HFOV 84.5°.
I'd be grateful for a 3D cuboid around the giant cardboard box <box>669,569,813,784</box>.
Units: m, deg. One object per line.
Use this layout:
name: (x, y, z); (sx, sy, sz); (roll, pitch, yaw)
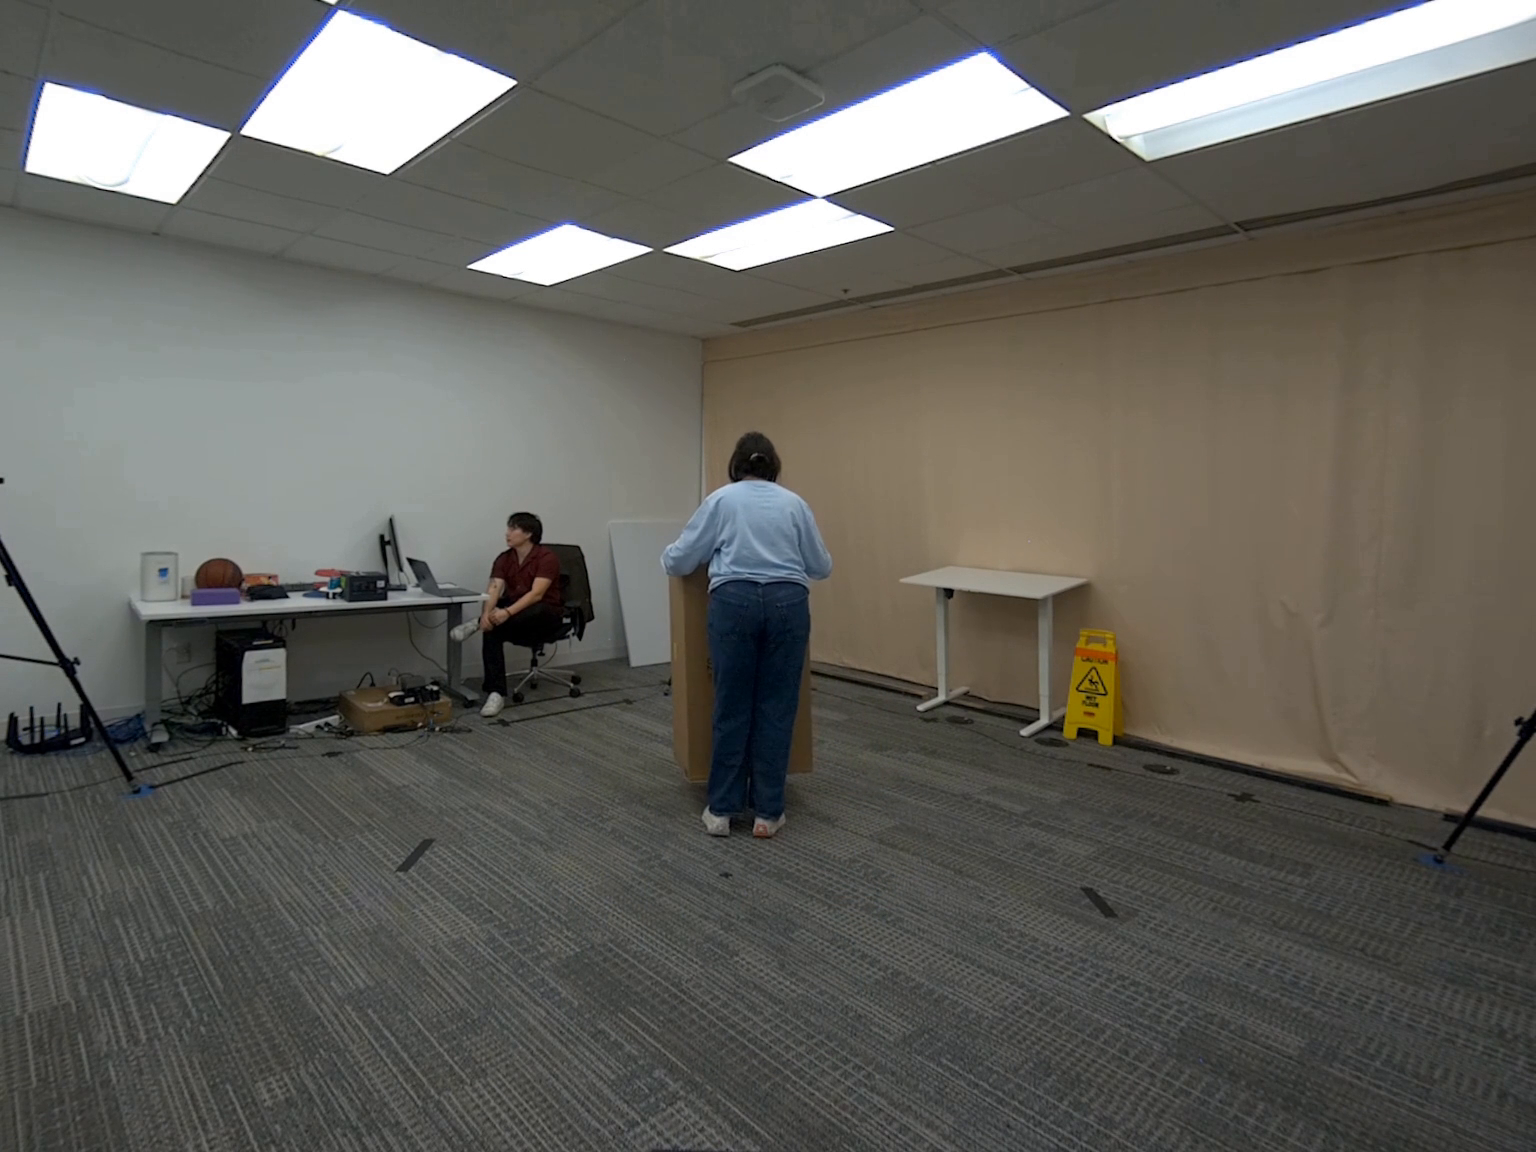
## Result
giant cardboard box: (-0.140, 0.379, 3.930); (0.572, 1.024, 0.431); (-2, 3, -13)
